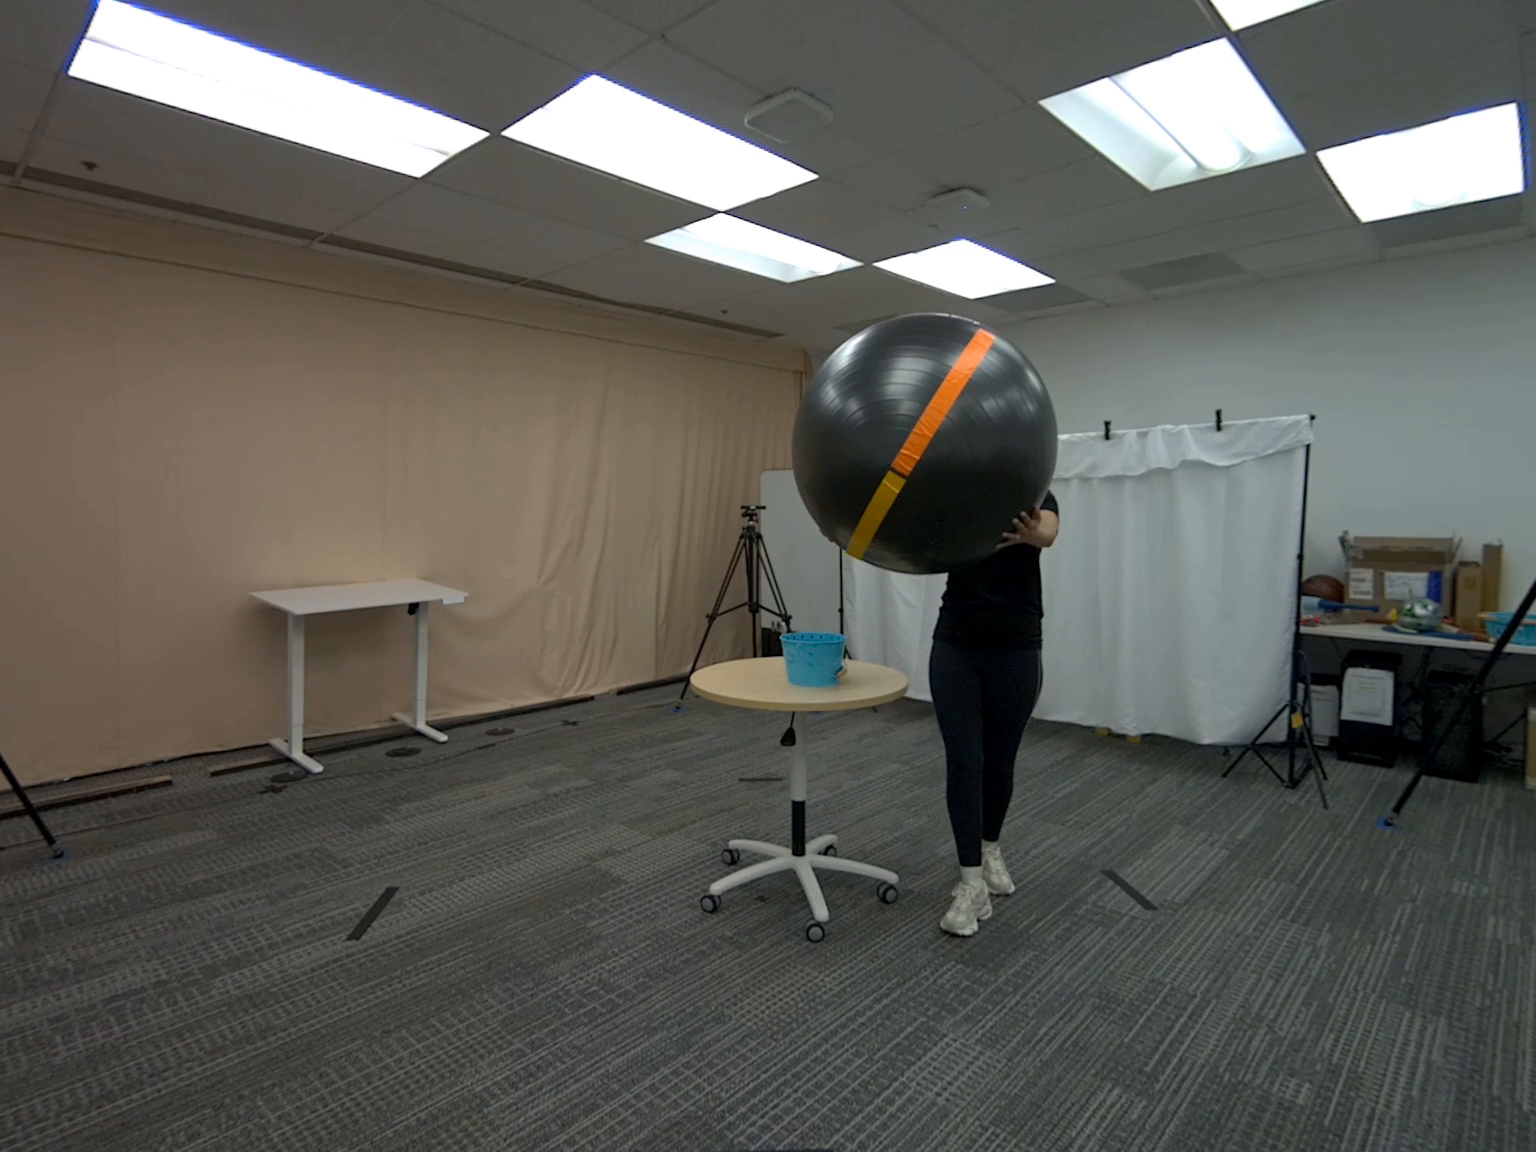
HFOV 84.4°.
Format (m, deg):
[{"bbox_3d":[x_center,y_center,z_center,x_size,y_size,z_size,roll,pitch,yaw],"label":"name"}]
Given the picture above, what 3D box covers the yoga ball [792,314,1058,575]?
[{"bbox_3d":[0.452,-0.376,2.482,0.757,0.756,0.761,0,4,-2],"label":"yoga ball"}]
